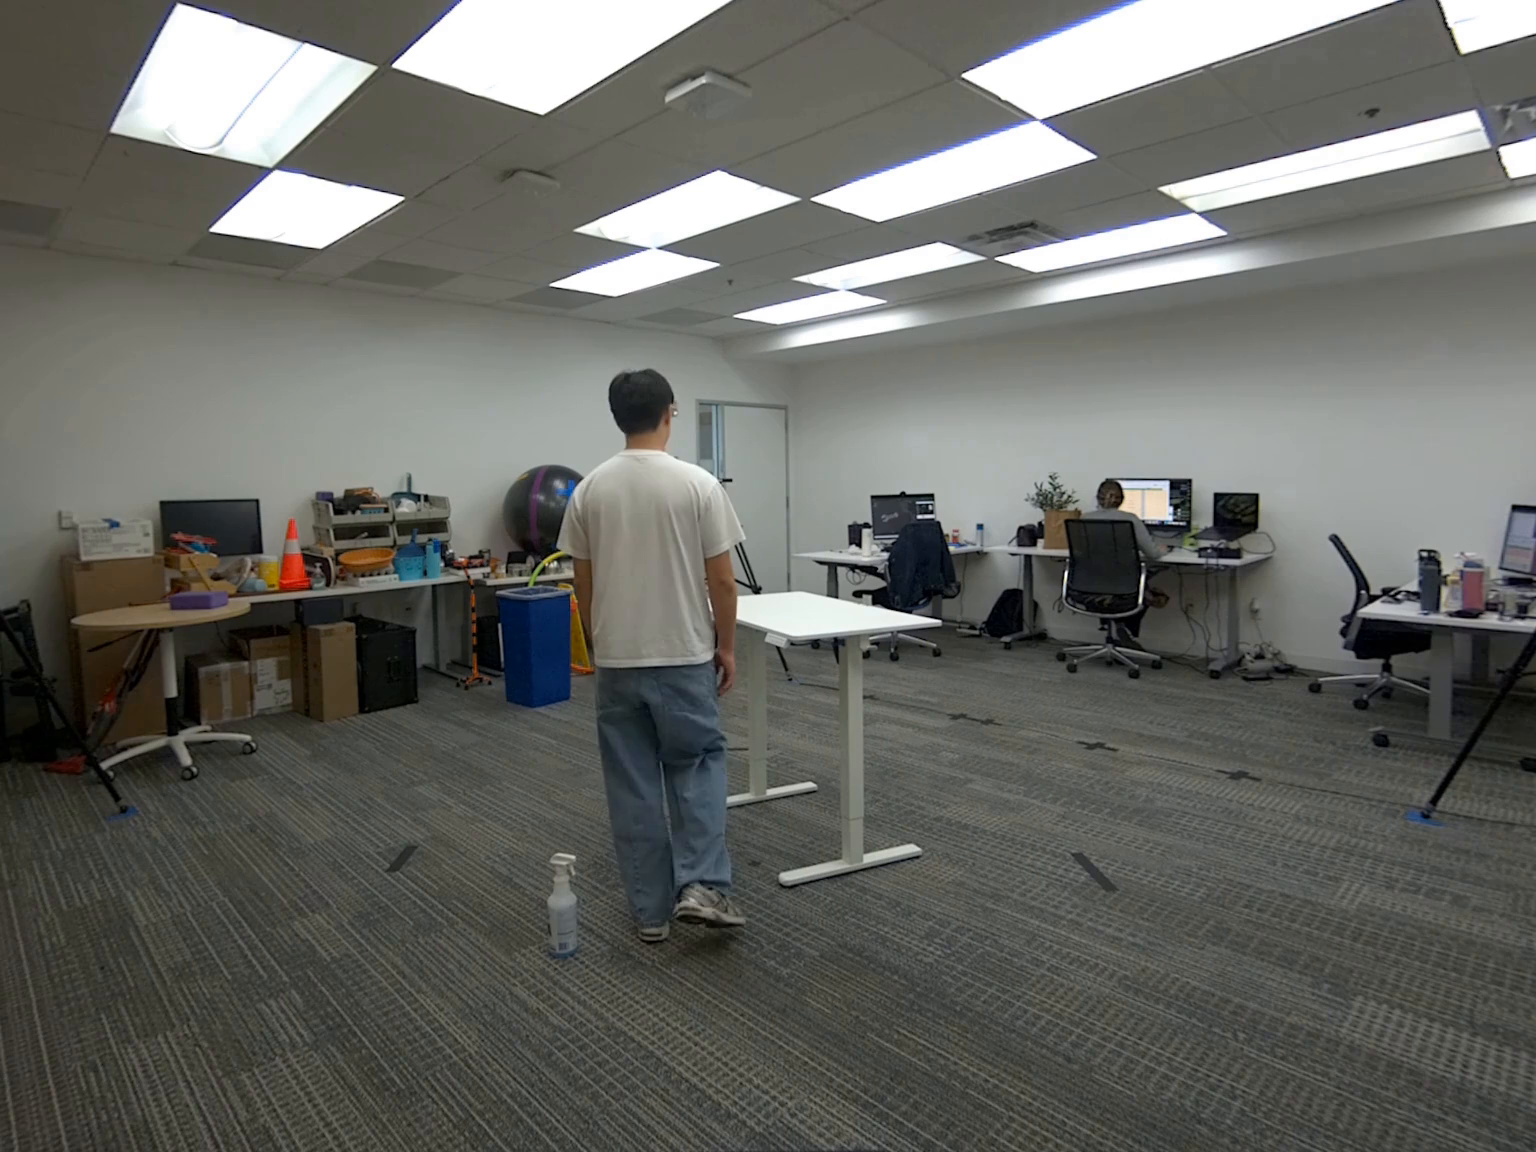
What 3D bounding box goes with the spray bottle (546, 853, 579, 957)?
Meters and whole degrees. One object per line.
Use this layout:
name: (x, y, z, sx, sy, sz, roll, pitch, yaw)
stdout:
spray bottle: (-0.609, 0.978, 2.542, 0.085, 0.296, 0.093, -3, 5, -41)
